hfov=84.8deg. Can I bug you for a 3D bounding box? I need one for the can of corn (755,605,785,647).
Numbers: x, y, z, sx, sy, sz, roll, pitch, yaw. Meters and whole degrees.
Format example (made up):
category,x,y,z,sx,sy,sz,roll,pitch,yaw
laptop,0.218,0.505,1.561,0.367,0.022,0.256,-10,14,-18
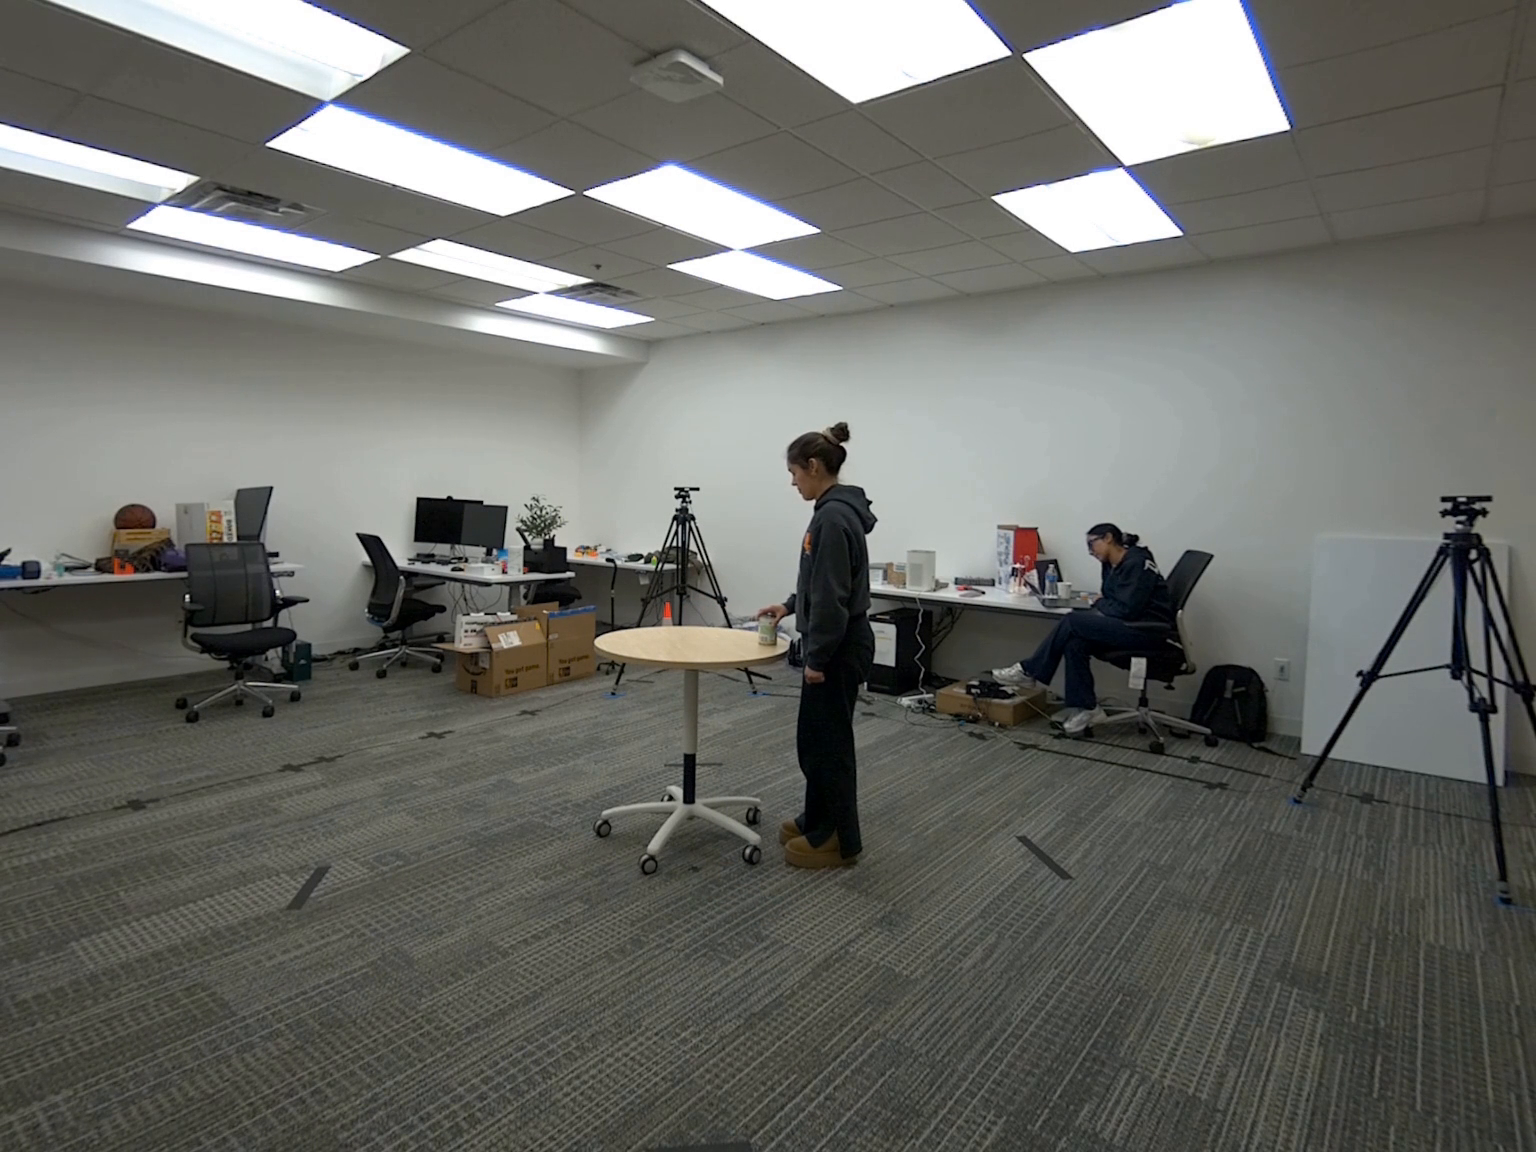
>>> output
category,x,y,z,sx,sy,sz,roll,pitch,yaw
can of corn,-0.006,0.212,3.356,0.074,0.111,0.074,4,3,-2
